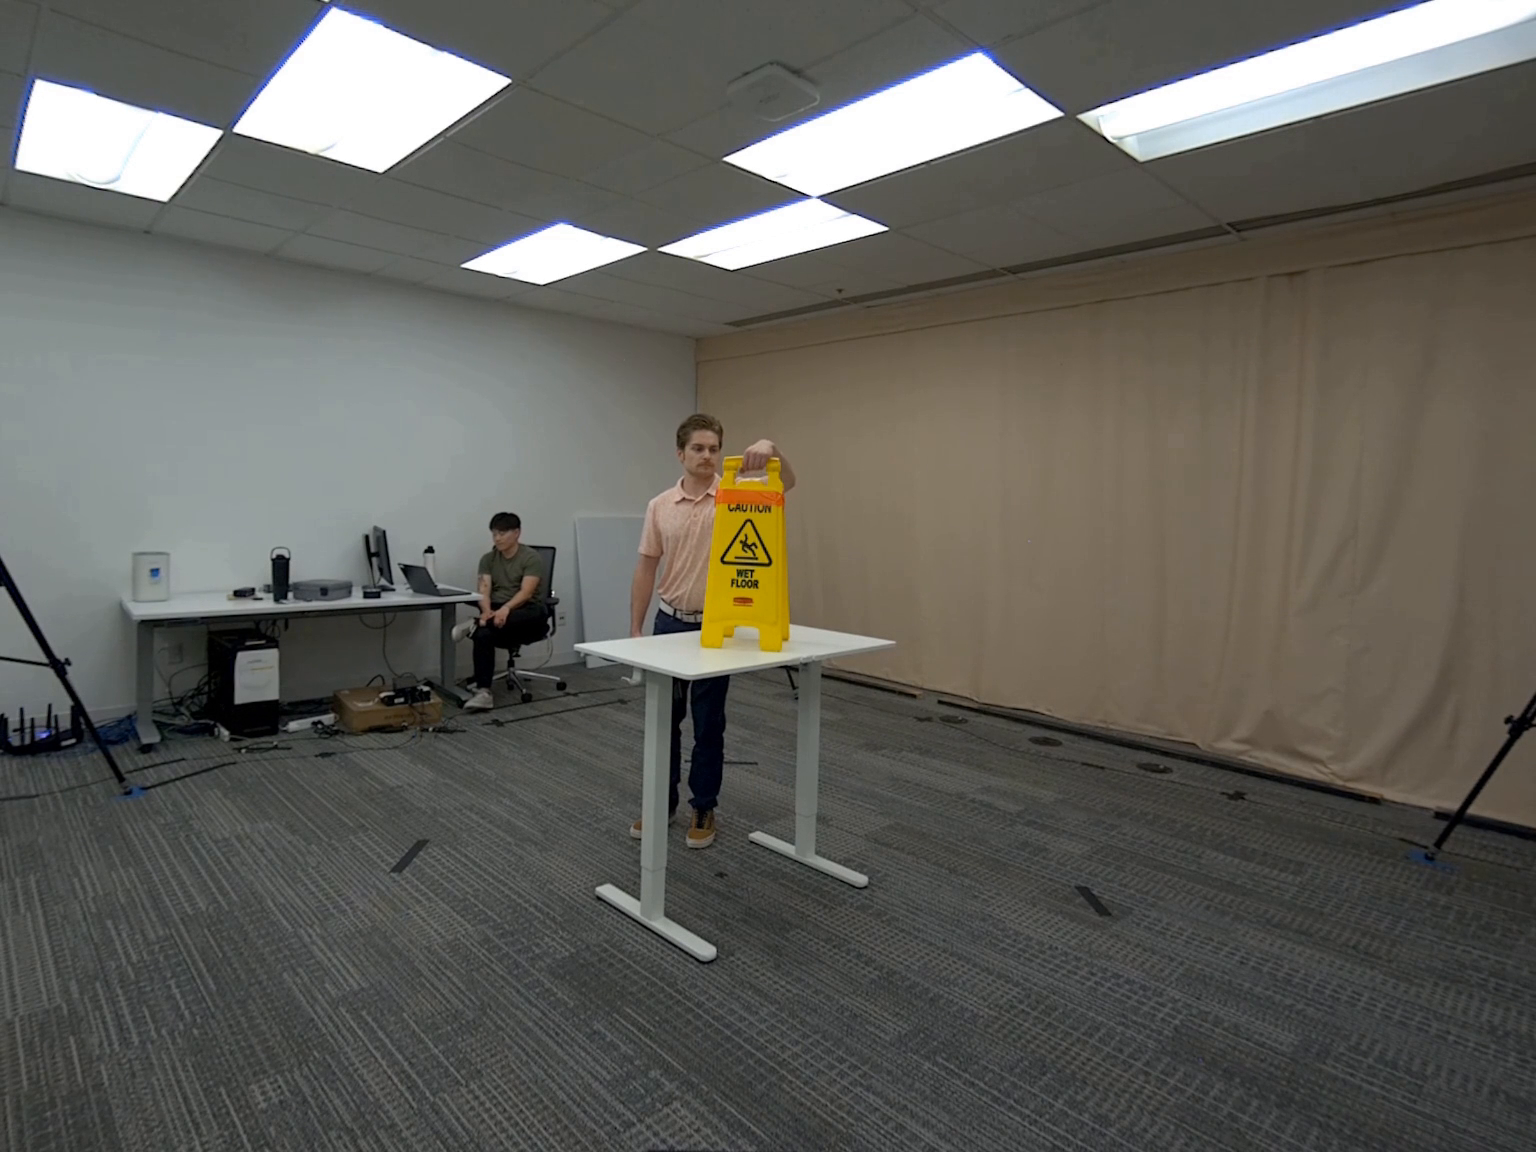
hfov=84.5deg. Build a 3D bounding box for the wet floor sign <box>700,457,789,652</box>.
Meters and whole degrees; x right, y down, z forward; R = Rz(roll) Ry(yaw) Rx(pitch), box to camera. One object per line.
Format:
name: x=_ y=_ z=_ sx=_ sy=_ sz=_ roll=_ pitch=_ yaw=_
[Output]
wet floor sign: x=-0.073 y=-0.082 z=2.923 sx=0.284 sy=0.645 sz=0.288 roll=2 pitch=3 yaw=6
